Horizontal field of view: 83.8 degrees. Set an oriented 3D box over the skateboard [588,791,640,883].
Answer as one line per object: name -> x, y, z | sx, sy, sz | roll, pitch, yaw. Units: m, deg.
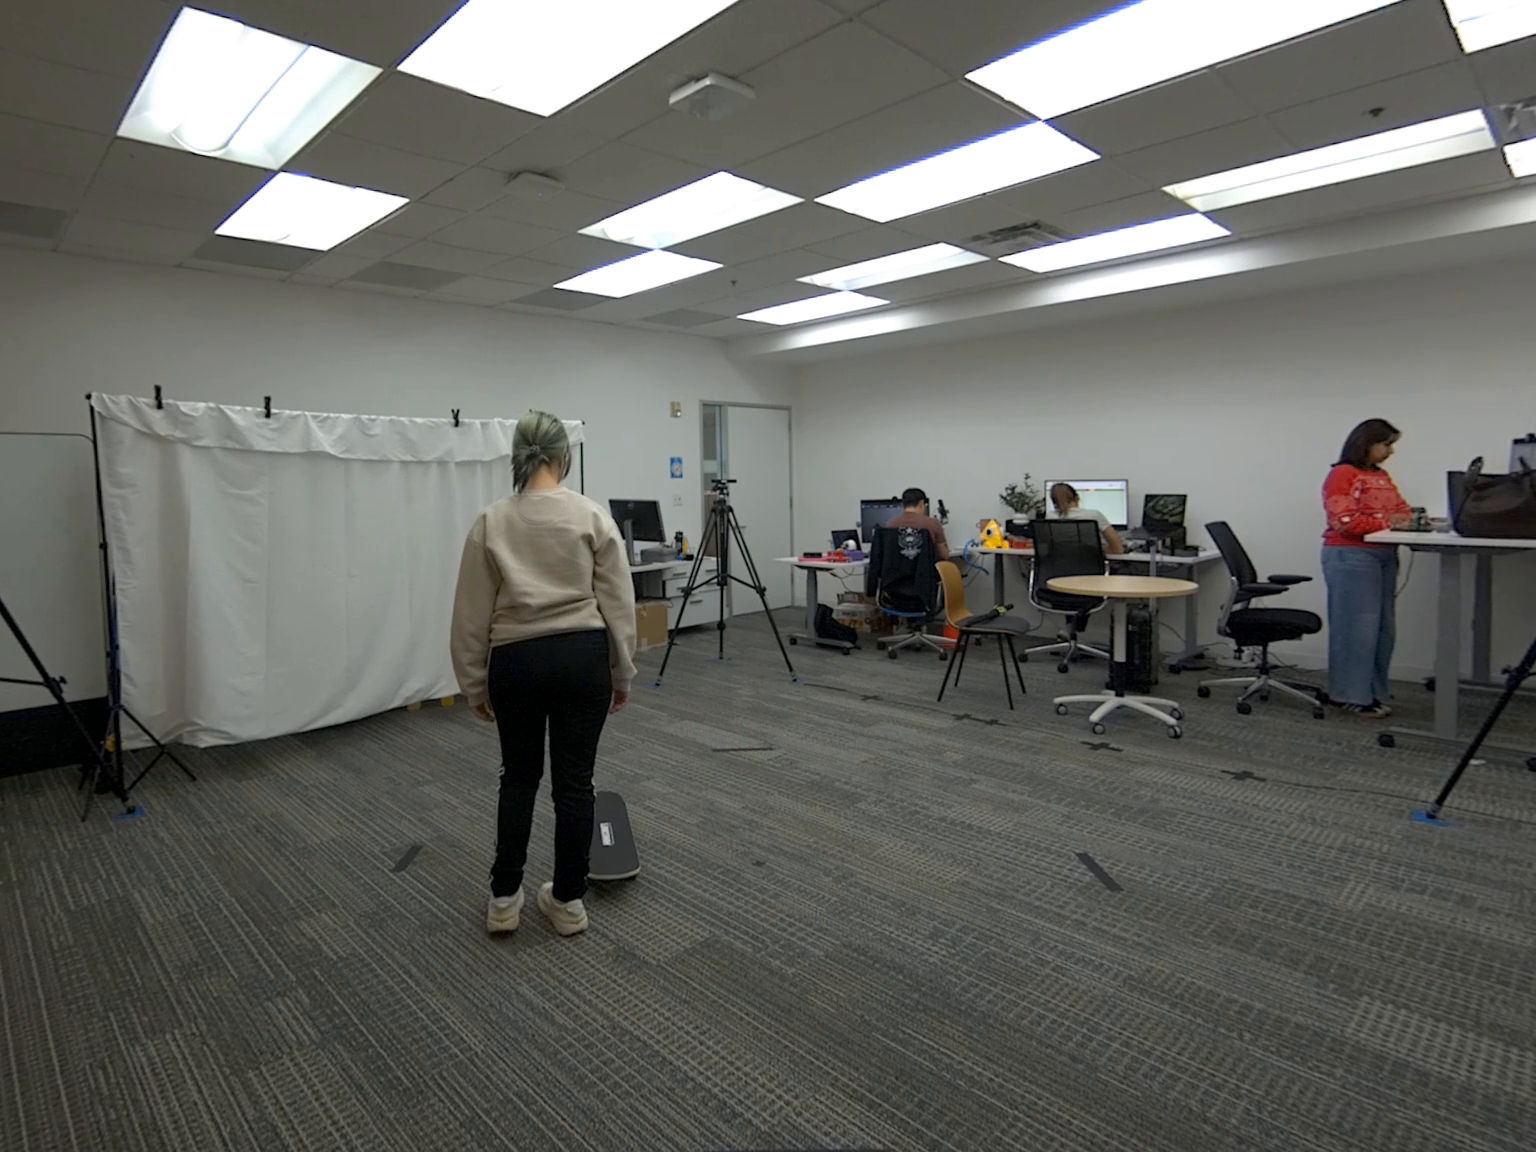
skateboard -> -0.600, 0.992, 3.185 | 0.191, 0.110, 0.798 | -2, 6, -14
